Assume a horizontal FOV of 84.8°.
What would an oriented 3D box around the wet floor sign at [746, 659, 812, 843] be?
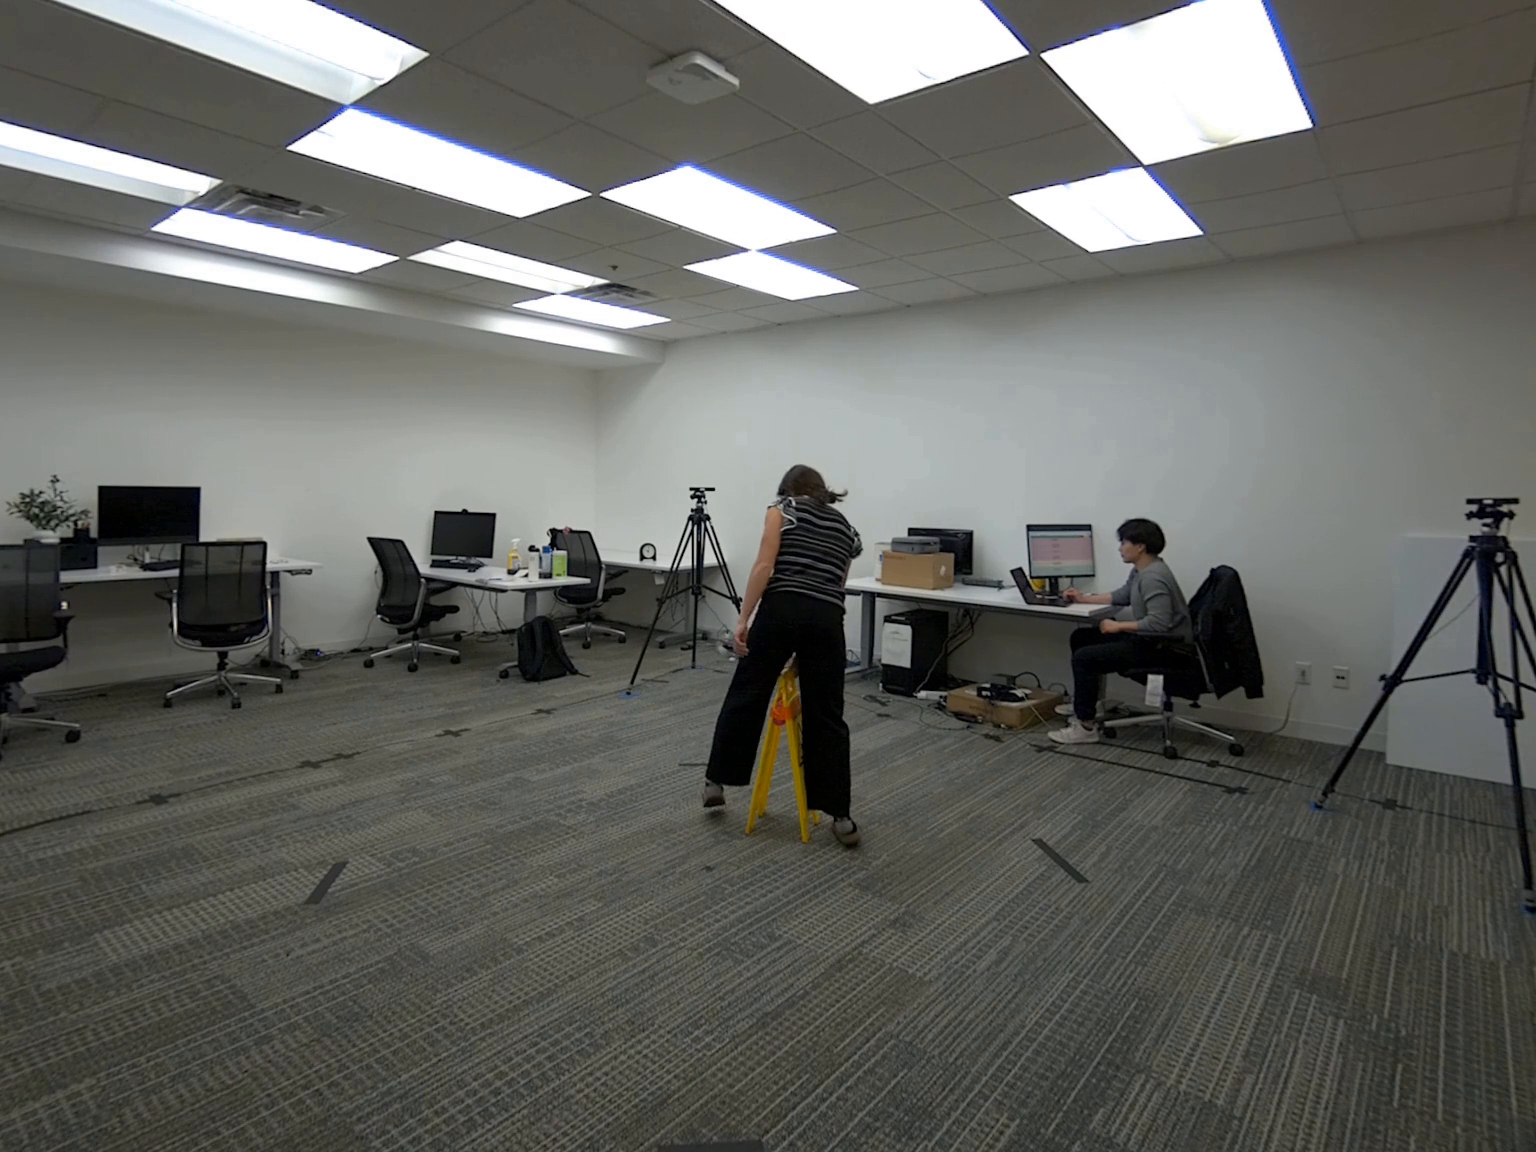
[{"bbox_3d":[0.064,0.710,3.500,0.295,0.643,0.279,3,6,15],"label":"wet floor sign"}]
